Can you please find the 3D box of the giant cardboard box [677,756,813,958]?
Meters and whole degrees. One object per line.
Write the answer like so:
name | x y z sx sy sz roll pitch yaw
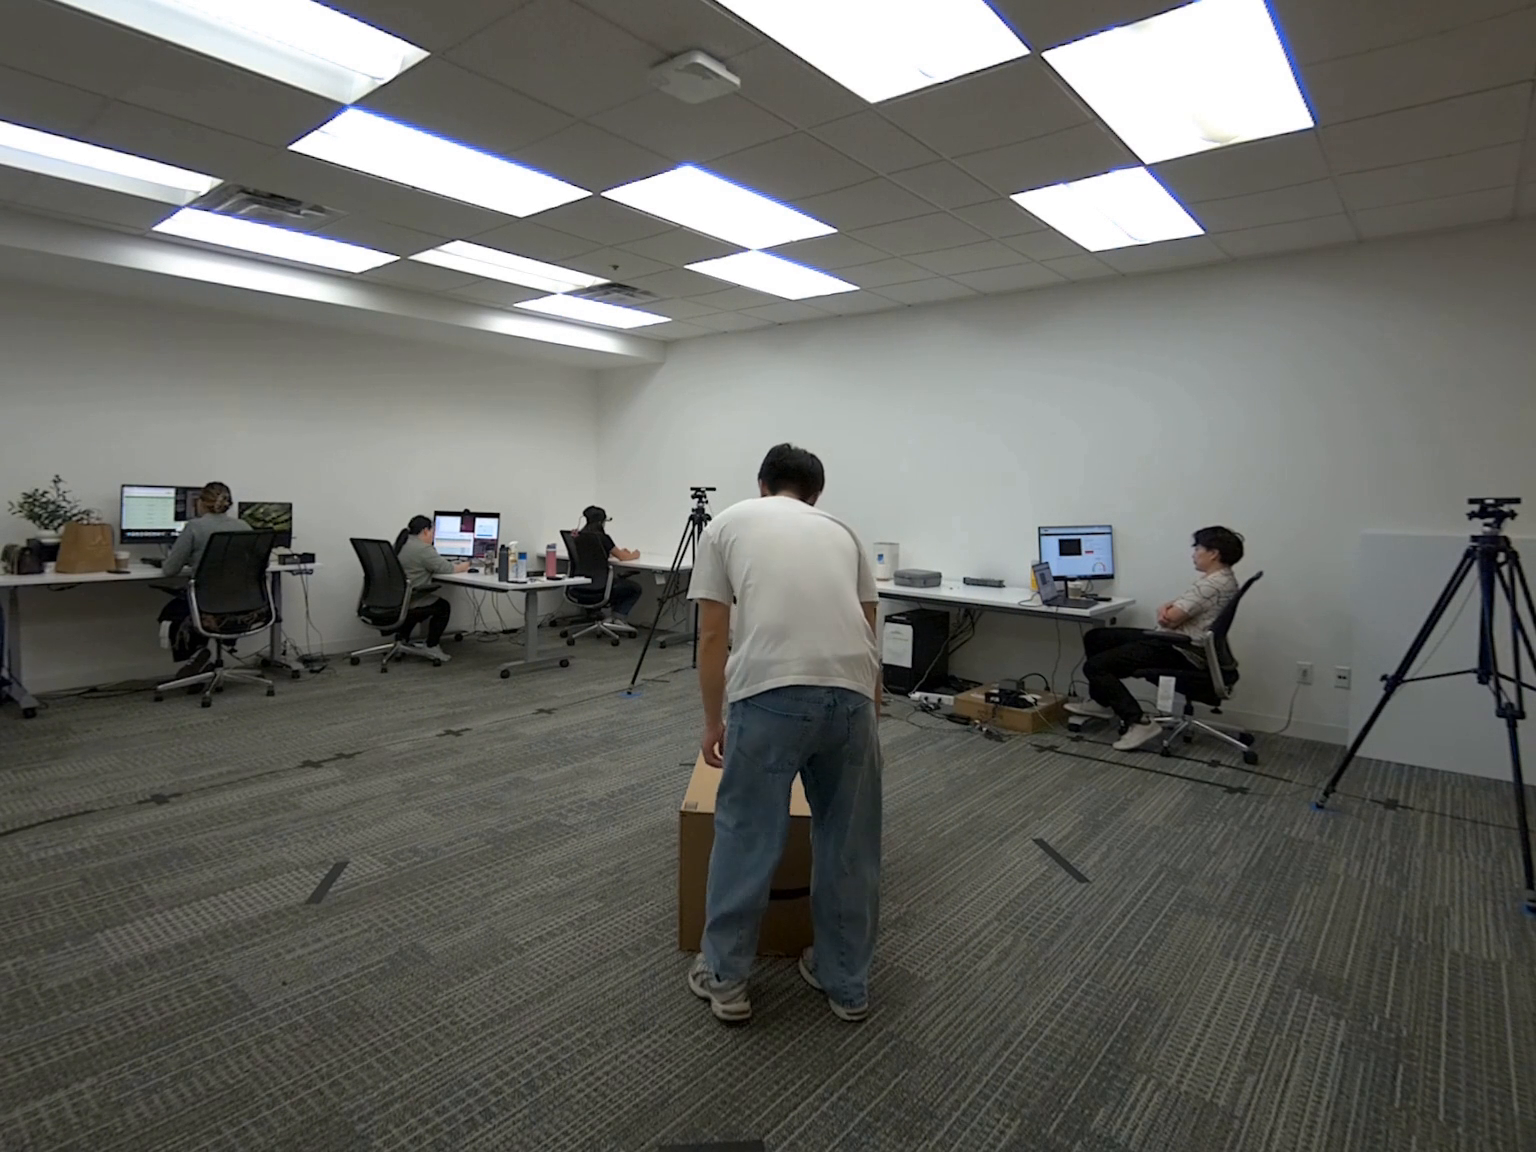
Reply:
giant cardboard box | 0.022 0.859 3.021 0.579 0.424 1.027 2 5 2
